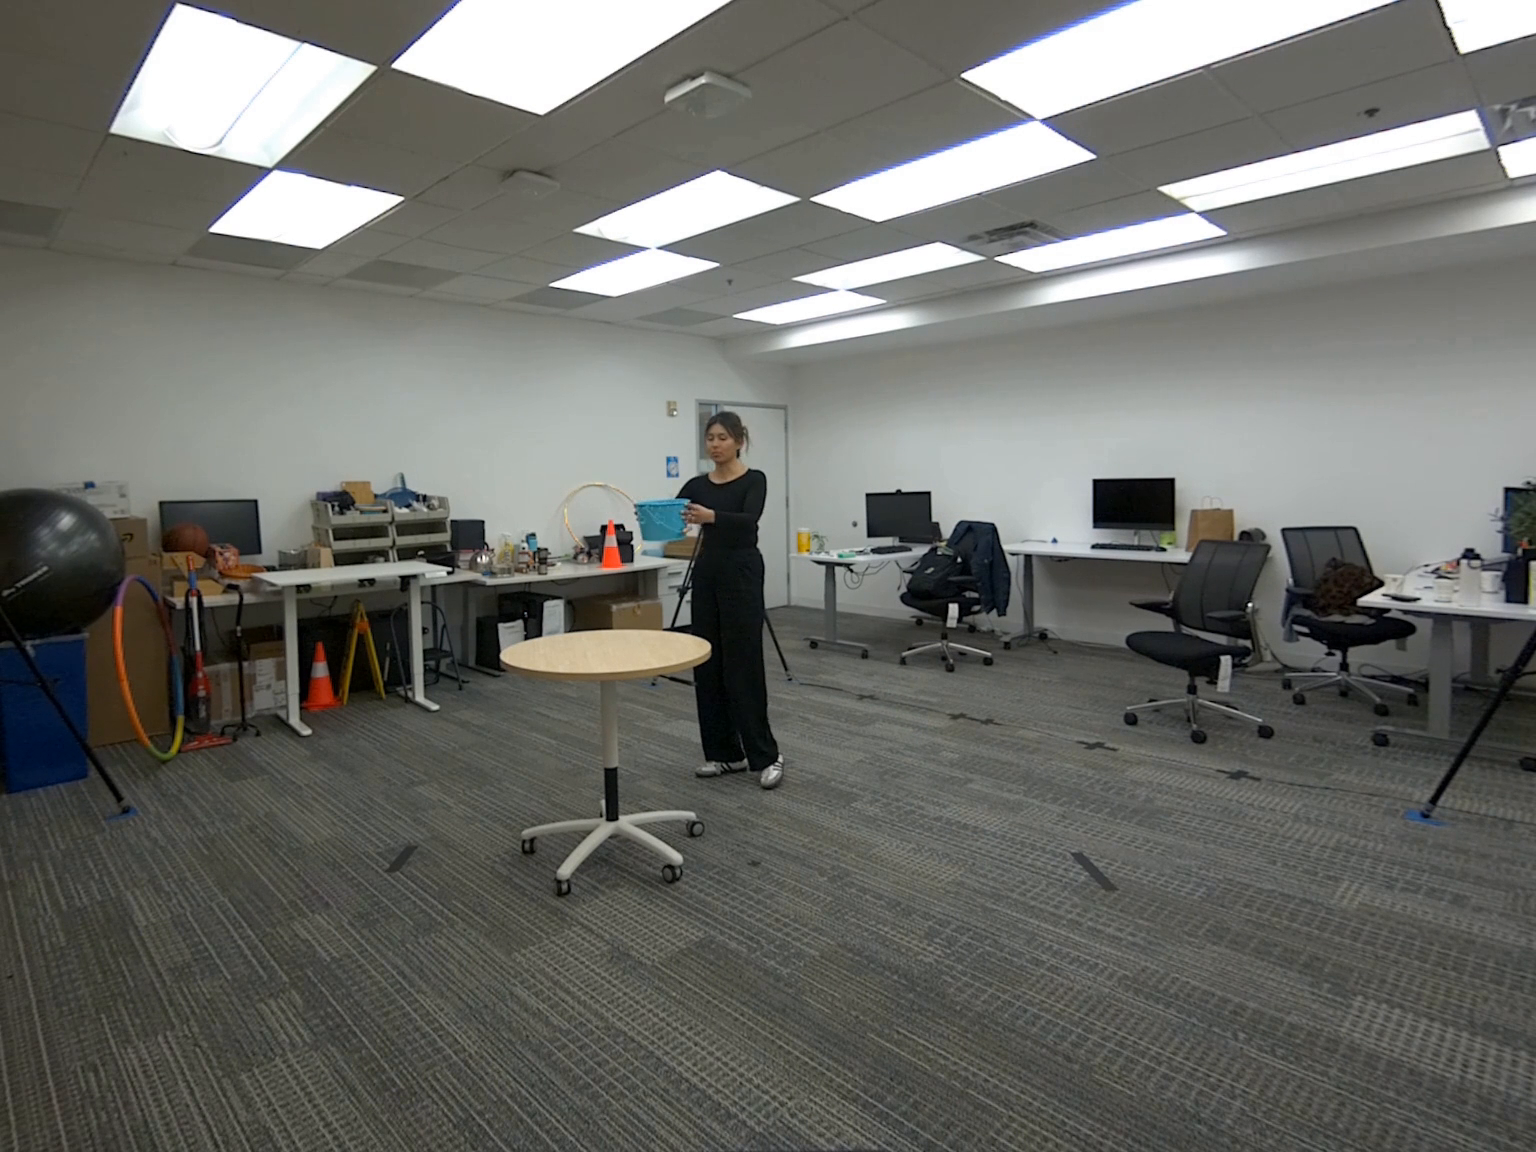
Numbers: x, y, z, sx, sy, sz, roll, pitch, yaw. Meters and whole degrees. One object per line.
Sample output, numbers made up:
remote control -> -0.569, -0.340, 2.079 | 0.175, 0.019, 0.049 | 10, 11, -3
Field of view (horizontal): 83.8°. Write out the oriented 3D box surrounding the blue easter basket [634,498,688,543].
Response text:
blue easter basket -> -0.437, -0.223, 3.512 | 0.243, 0.155, 0.245 | -1, 8, -2
